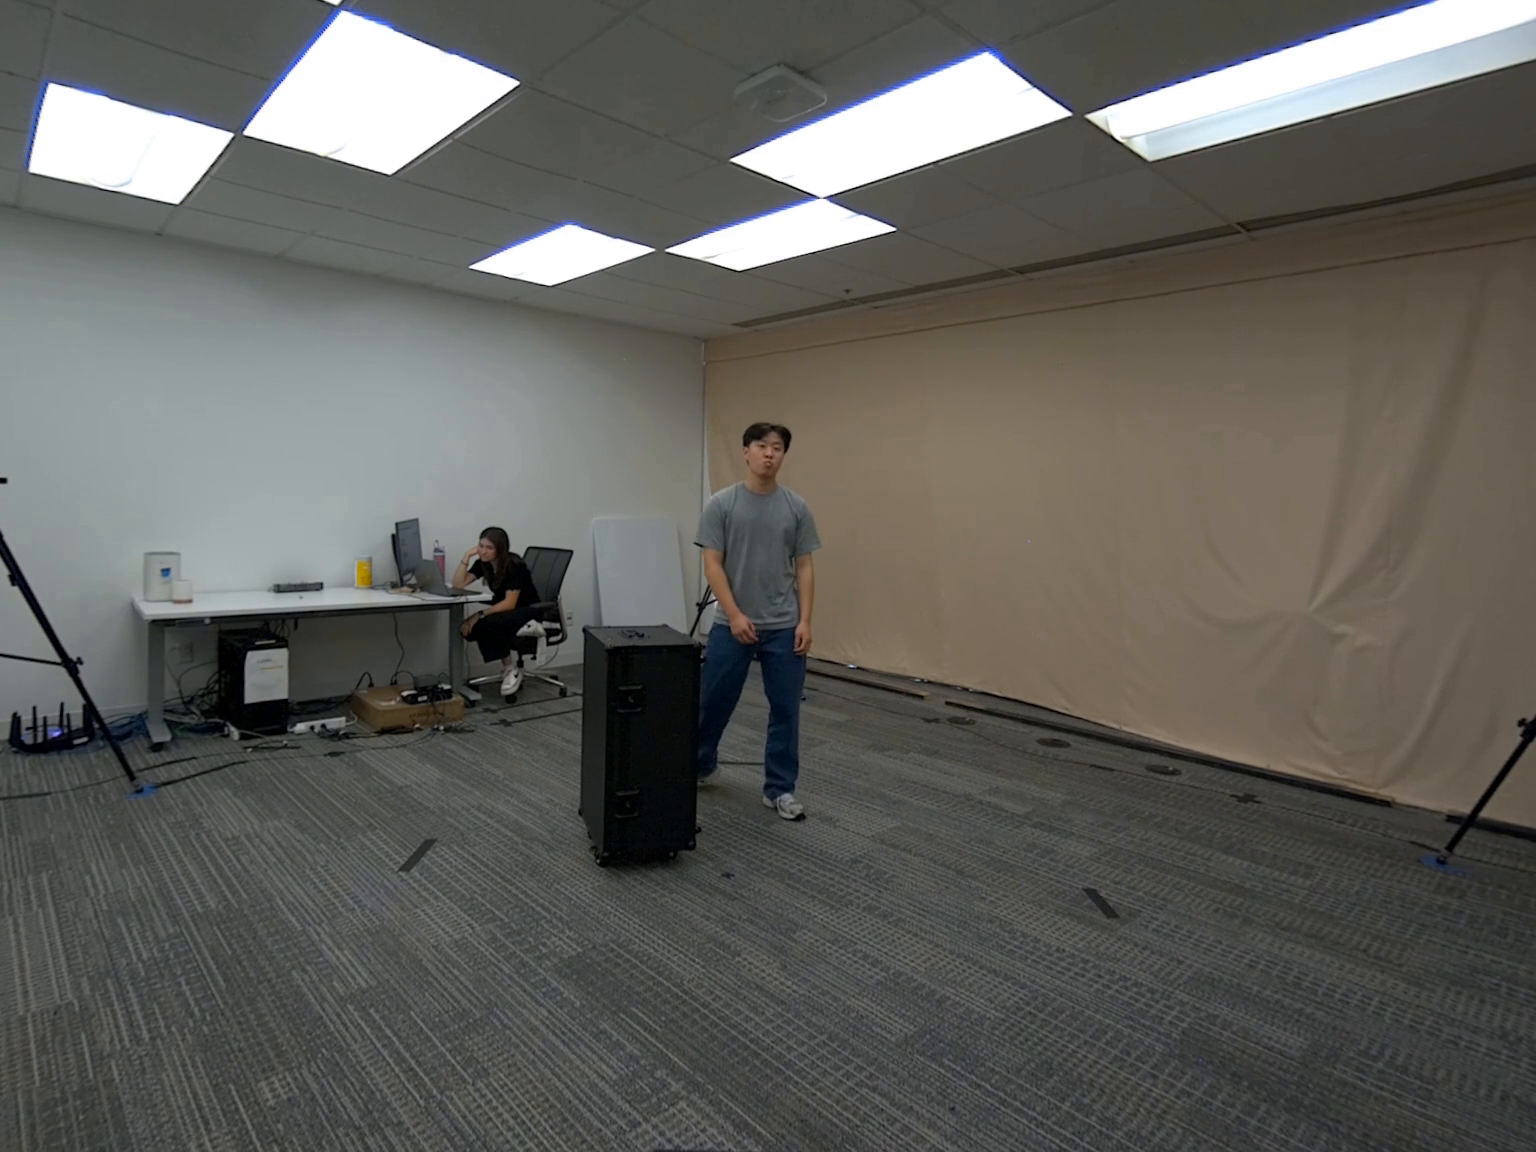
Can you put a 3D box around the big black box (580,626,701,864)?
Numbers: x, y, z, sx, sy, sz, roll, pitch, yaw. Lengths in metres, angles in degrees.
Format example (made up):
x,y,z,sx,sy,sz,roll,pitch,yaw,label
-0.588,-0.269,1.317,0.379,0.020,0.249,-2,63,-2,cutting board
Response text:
x,y,z,sx,sy,sz,roll,pitch,yaw,label
-0.517,0.651,3.312,0.390,0.860,0.531,2,3,-22,big black box
